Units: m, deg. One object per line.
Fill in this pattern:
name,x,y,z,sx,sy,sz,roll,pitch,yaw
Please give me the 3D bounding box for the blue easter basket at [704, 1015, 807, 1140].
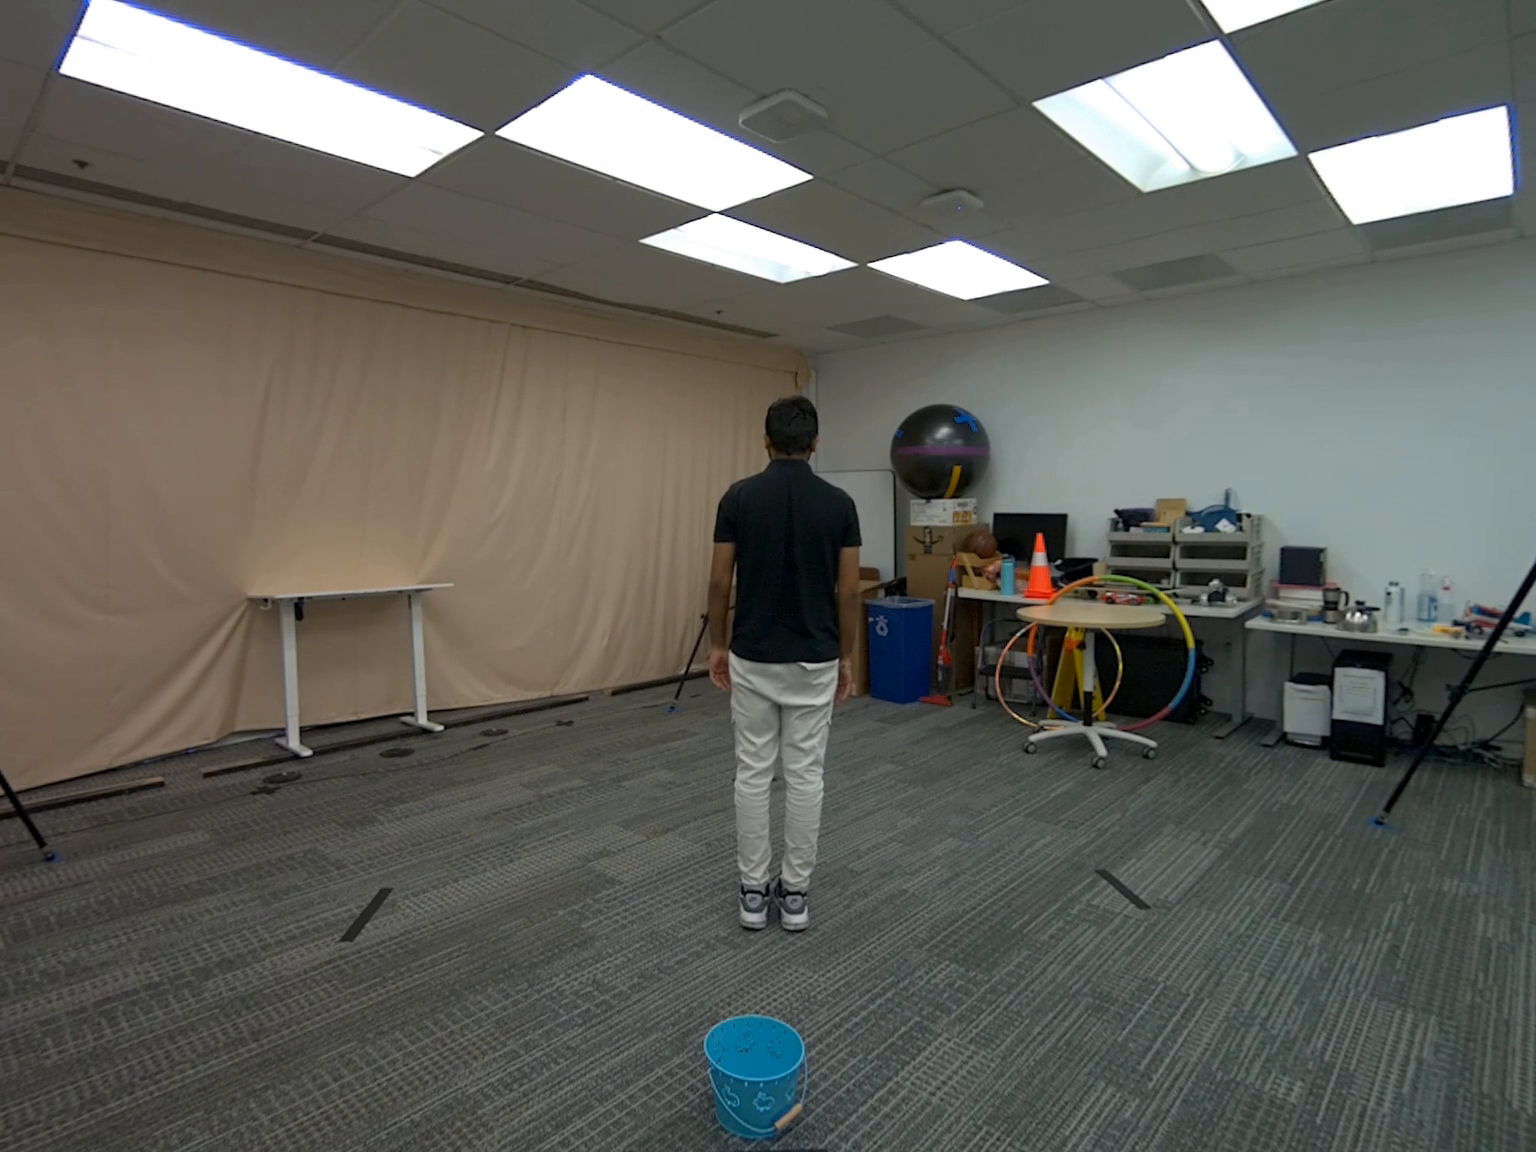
blue easter basket,-0.034,1.147,1.943,0.243,0.155,0.244,1,4,-2
